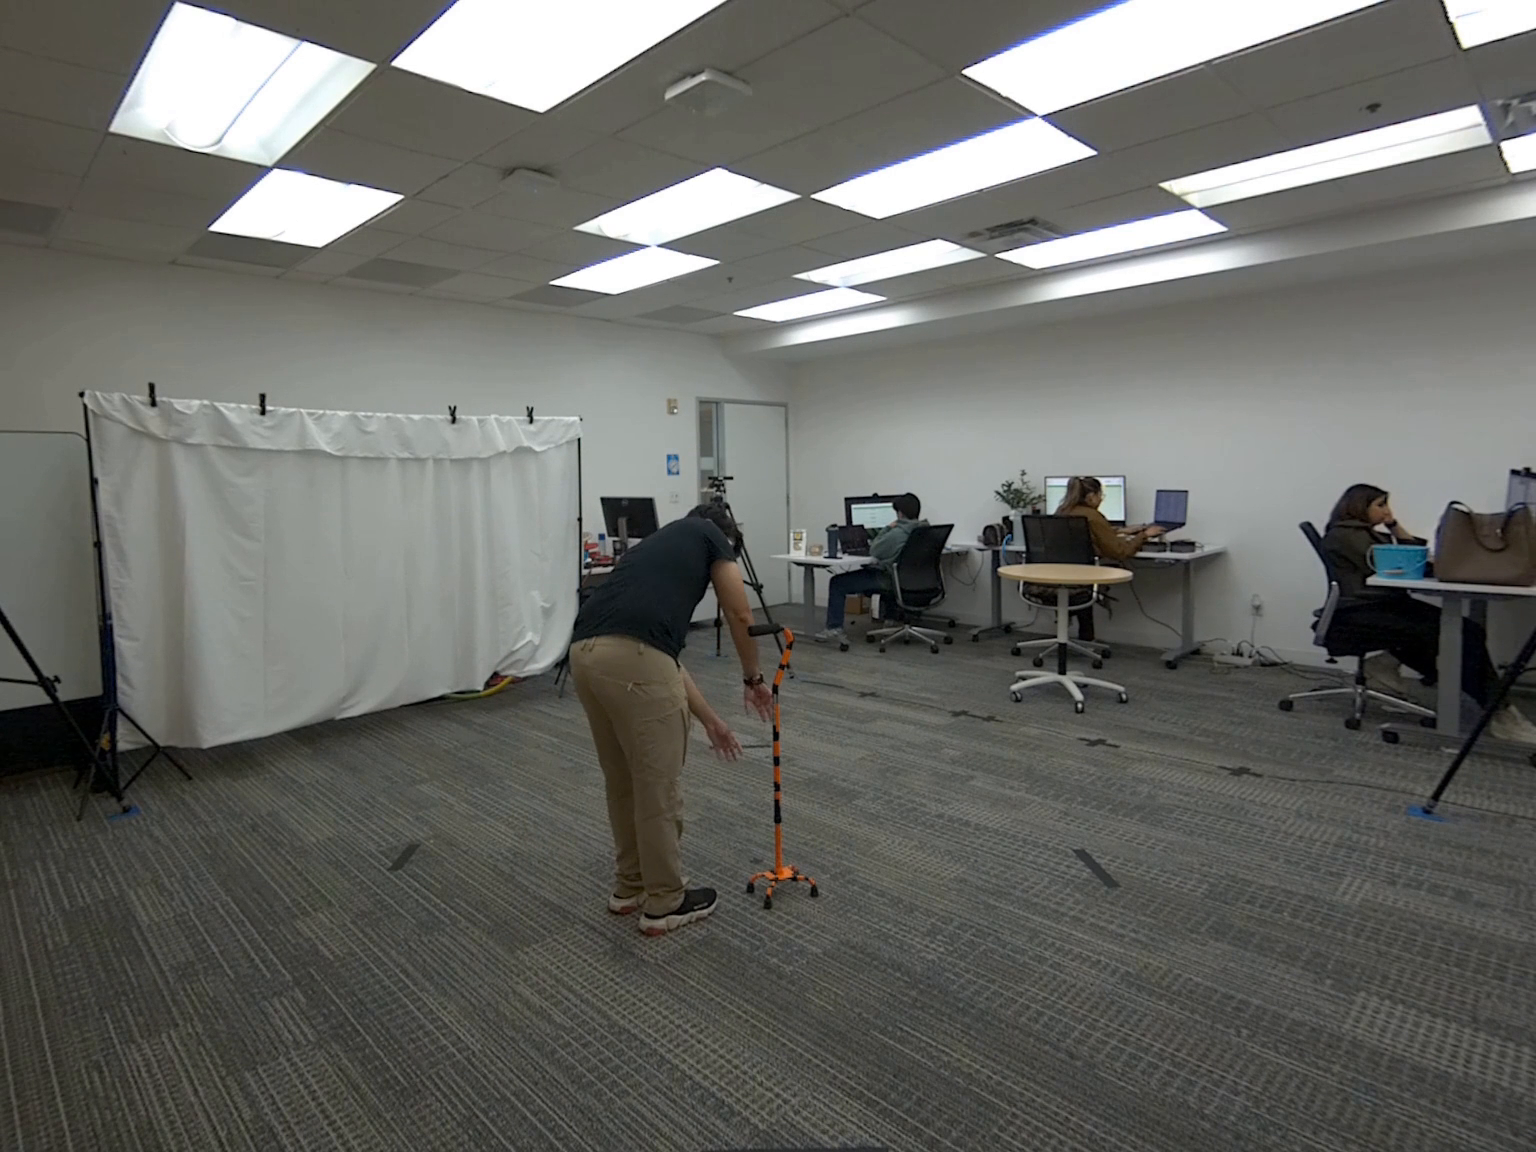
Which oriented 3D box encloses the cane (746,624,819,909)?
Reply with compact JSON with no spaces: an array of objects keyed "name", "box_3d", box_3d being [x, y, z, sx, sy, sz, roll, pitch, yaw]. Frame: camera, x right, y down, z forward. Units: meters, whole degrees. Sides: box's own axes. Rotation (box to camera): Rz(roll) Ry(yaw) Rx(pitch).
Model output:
[{"name":"cane","box_3d":[0.037,0.618,2.832,0.202,0.904,0.155,-3,4,-25]}]
